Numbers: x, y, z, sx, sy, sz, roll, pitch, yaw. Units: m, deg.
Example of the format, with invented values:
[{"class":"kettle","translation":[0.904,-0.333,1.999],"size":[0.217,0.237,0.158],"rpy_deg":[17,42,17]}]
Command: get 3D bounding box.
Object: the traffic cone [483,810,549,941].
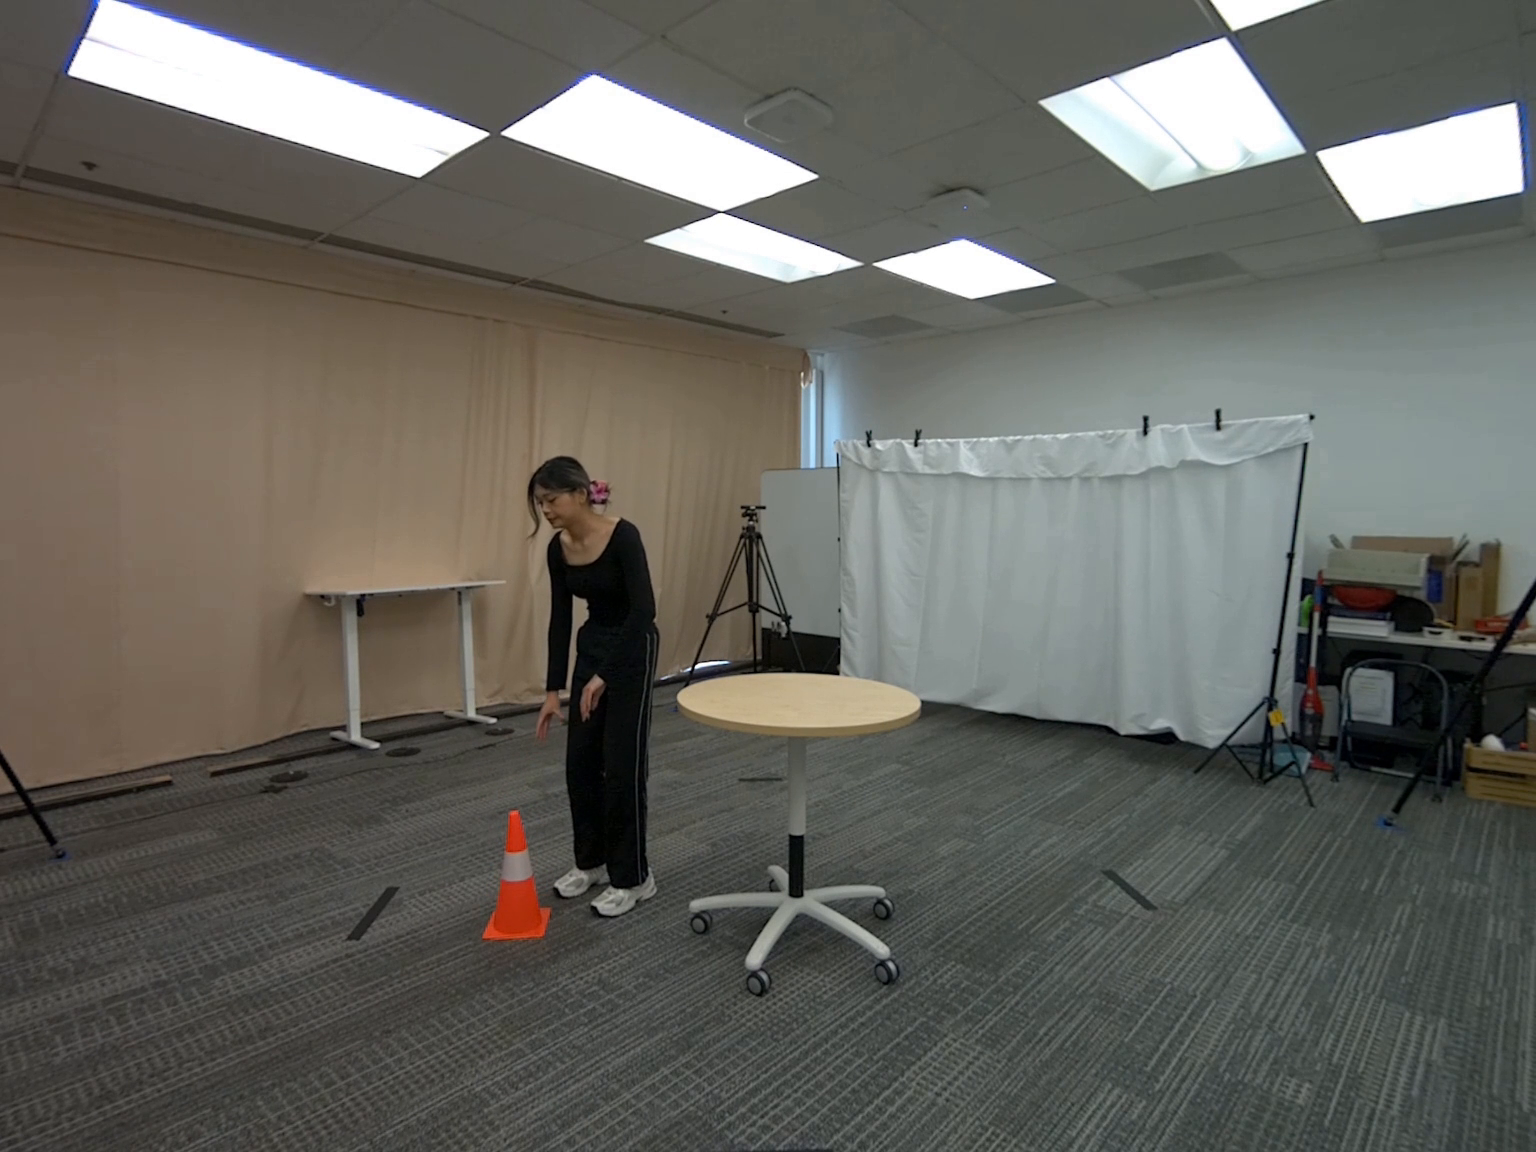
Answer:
[{"class":"traffic cone","translation":[-0.838,0.982,2.799],"size":[0.204,0.383,0.204],"rpy_deg":[1,4,-3]}]
